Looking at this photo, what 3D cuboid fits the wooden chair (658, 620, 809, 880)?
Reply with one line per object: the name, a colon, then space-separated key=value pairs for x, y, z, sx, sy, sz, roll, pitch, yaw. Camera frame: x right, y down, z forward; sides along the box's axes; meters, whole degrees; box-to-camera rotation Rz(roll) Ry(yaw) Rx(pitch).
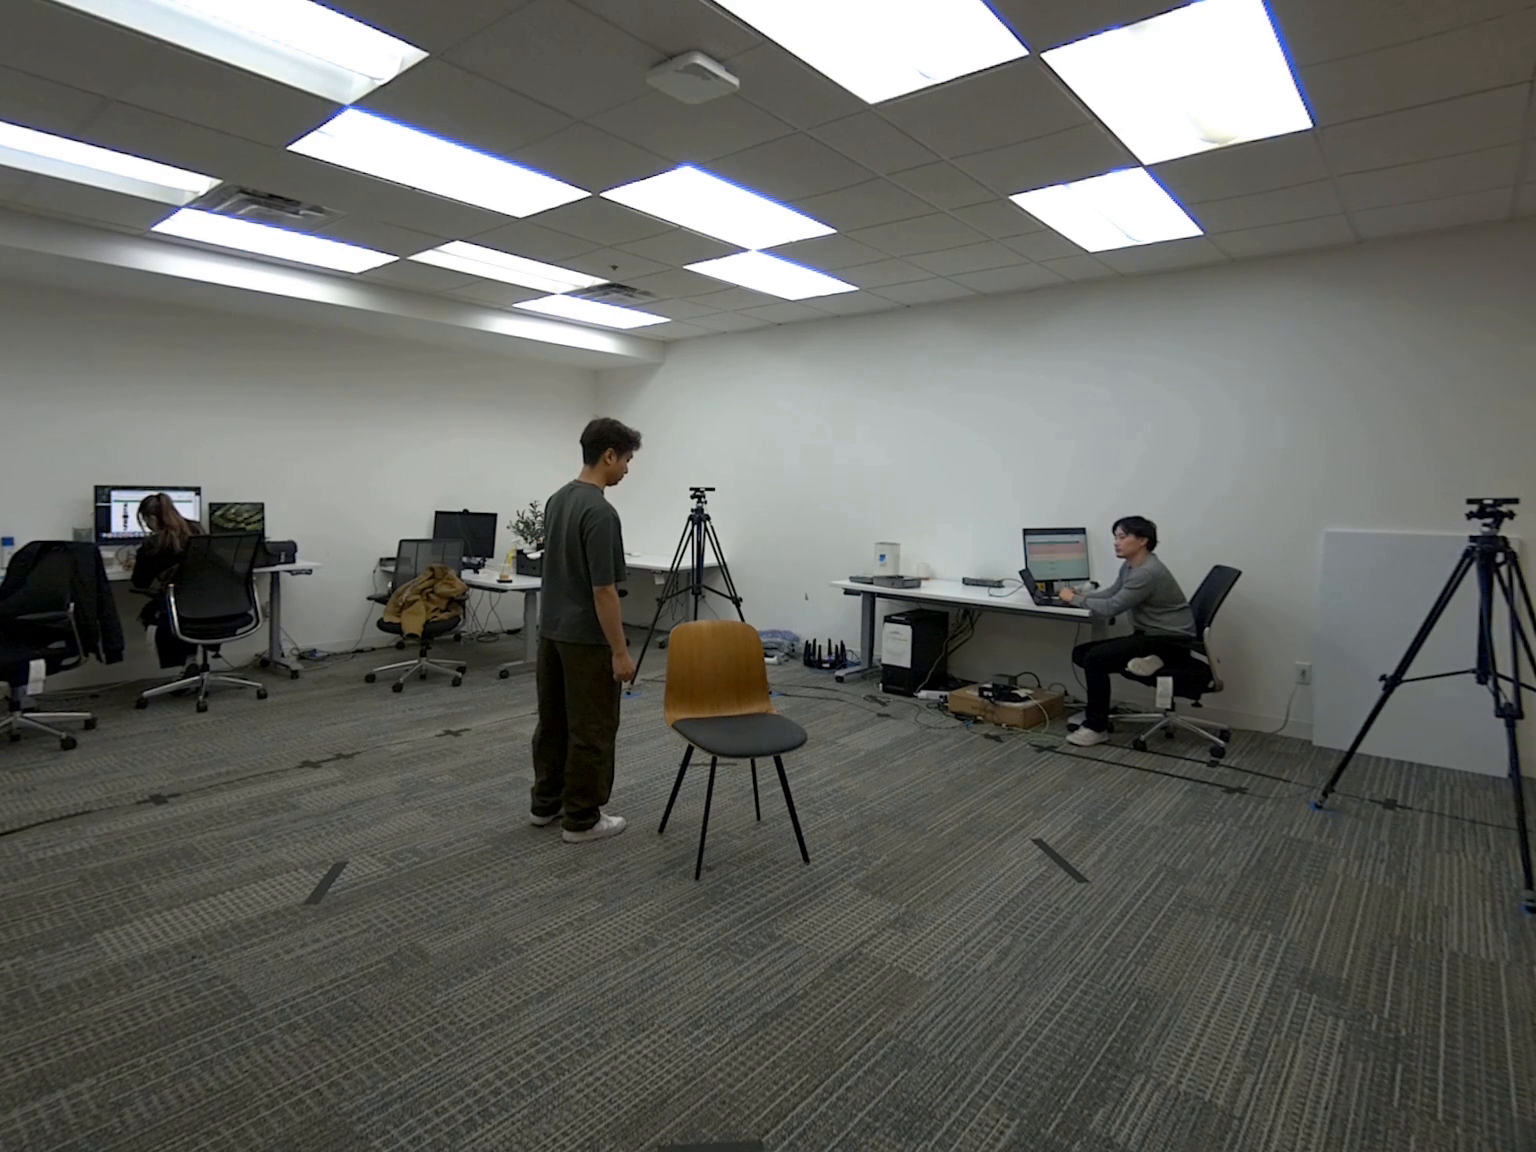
wooden chair: x=-0.140 y=0.627 z=3.264 sx=0.467 sy=0.879 sz=0.534 roll=0 pitch=-1 yaw=-23
